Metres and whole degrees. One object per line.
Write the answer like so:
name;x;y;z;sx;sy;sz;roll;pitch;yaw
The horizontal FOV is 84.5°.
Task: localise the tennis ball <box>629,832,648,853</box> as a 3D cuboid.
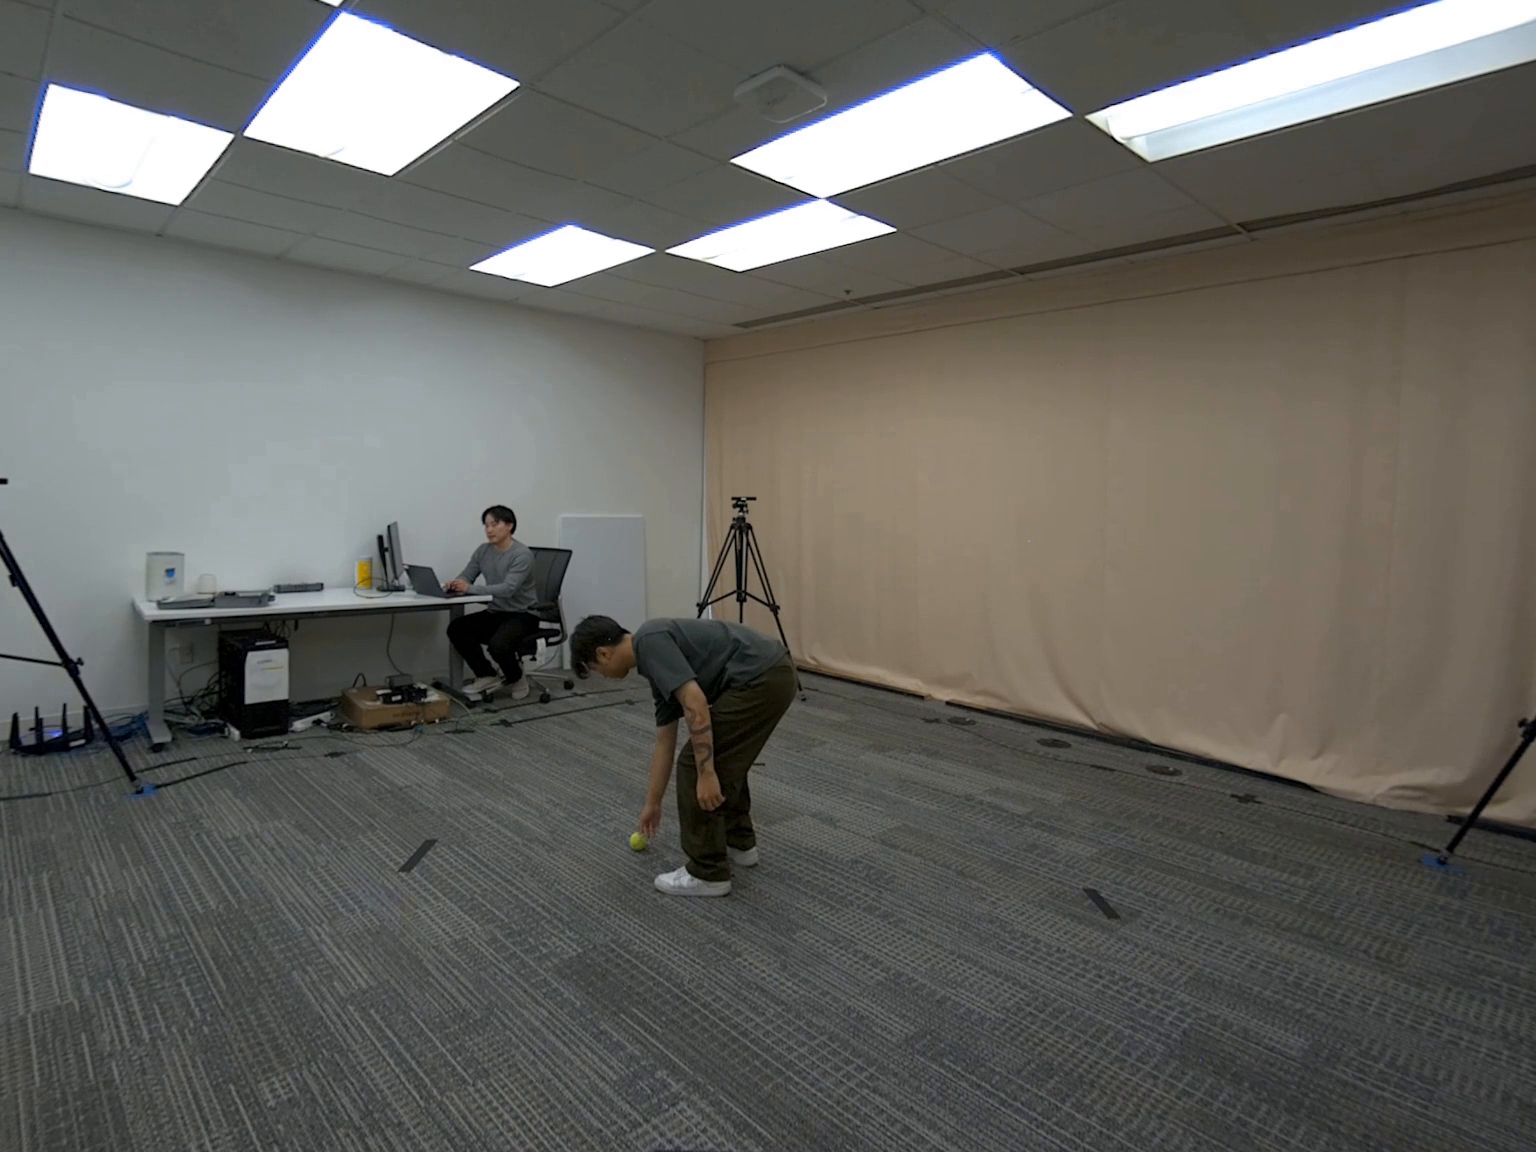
tennis ball;-0.515;1.036;3.316;0.066;0.066;0.067;1;4;-1
